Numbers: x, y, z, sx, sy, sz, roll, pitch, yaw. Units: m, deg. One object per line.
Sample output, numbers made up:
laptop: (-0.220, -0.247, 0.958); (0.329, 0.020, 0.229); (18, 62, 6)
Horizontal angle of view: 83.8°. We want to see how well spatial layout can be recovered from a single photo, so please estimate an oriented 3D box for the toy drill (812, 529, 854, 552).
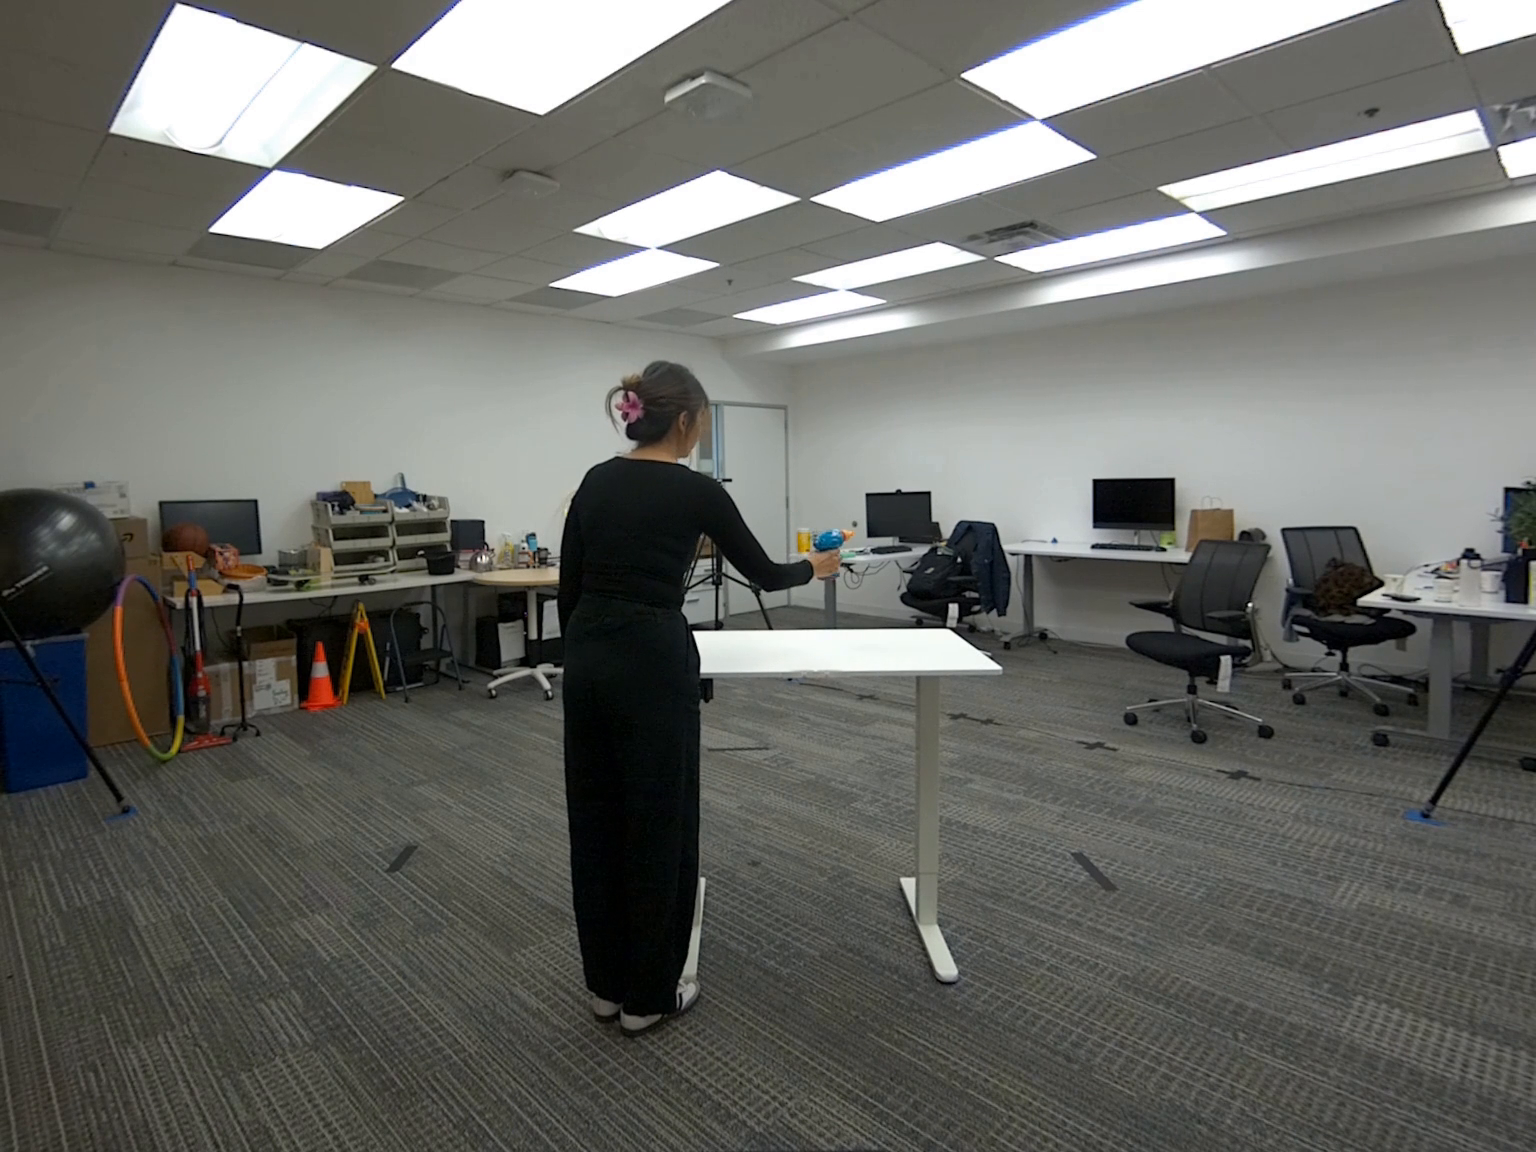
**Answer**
toy drill: (0.206, -0.077, 2.589); (0.166, 0.144, 0.063); (-19, 19, -42)
